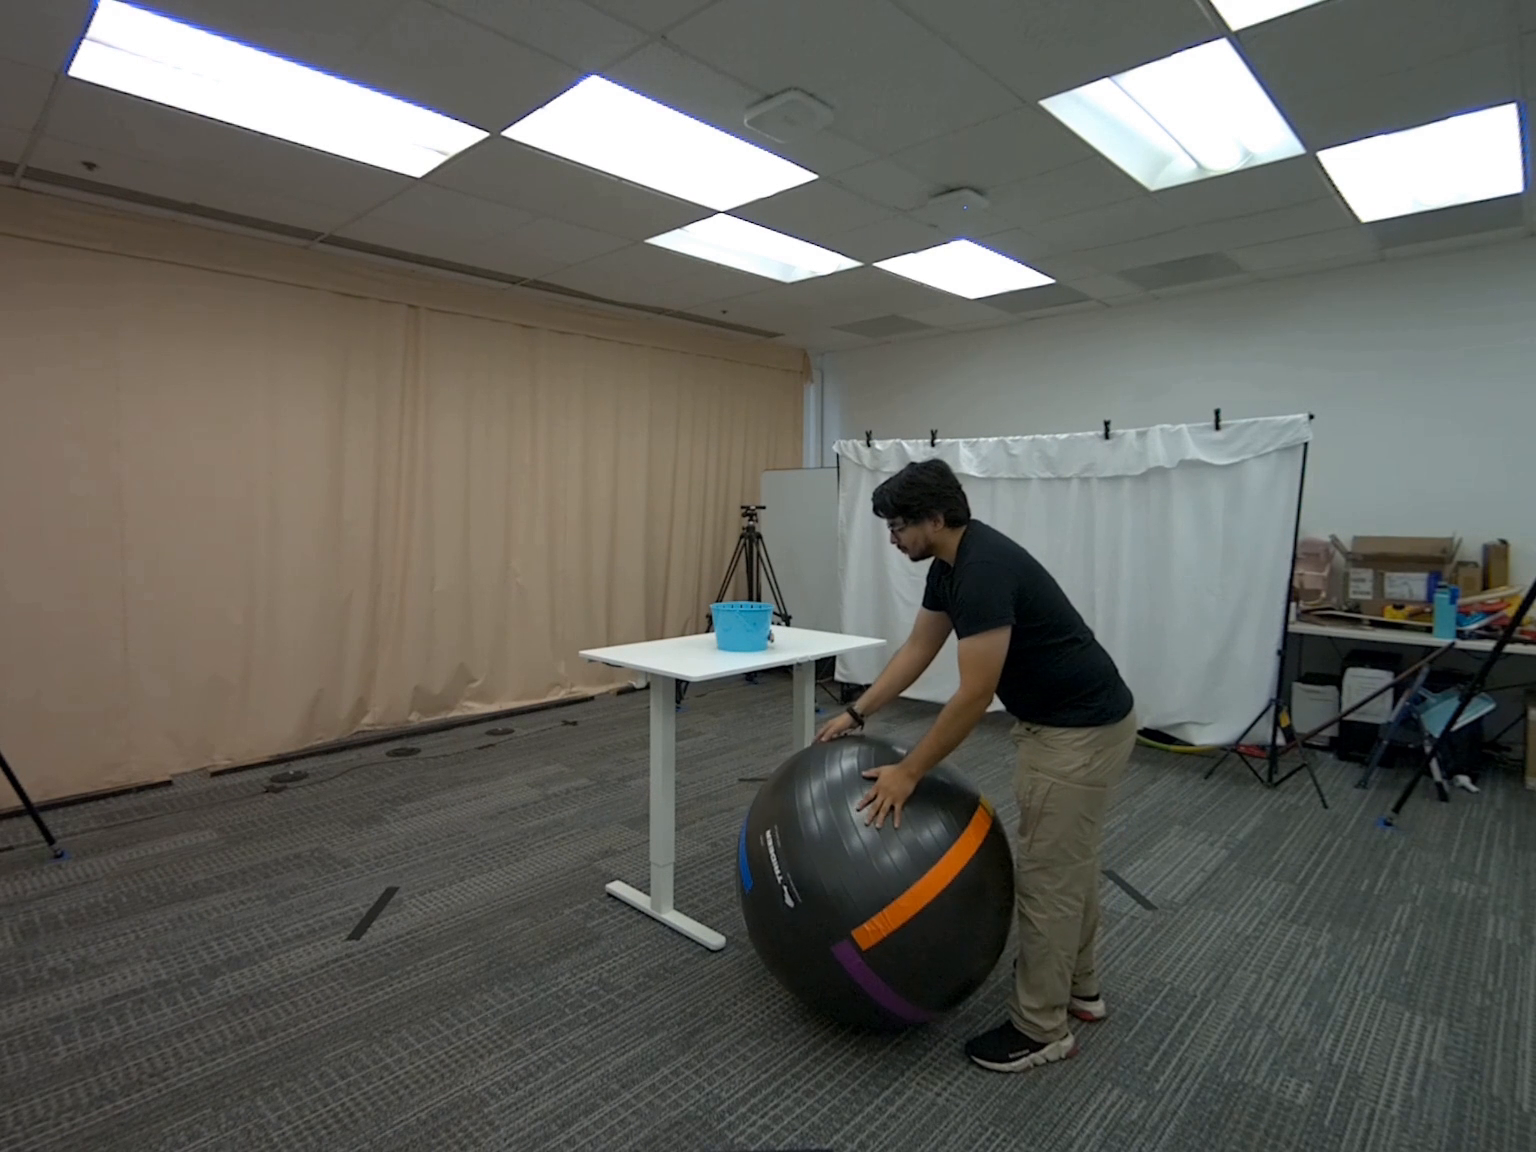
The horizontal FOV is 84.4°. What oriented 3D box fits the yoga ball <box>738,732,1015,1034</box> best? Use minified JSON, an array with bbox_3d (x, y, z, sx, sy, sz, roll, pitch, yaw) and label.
[{"bbox_3d":[0.301,0.841,2.325,0.757,0.756,0.760,0,4,-2],"label":"yoga ball"}]
